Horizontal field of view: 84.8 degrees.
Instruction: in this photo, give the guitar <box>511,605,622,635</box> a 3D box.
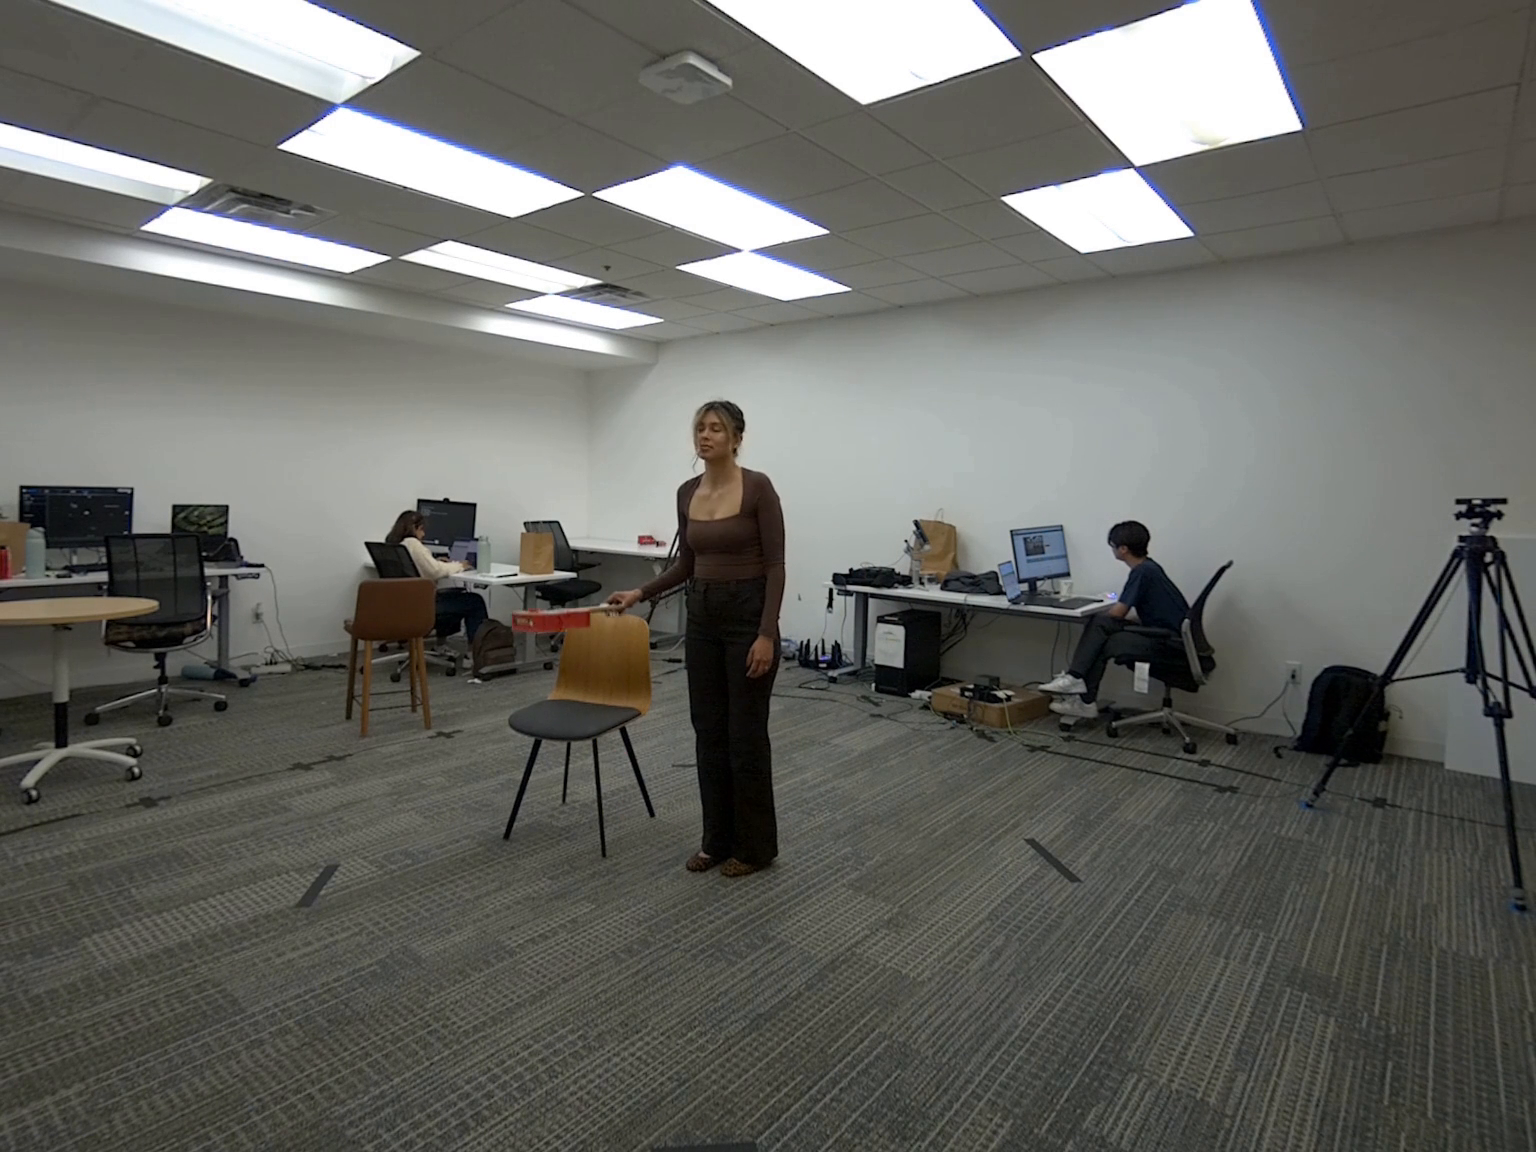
[{"bbox_3d":[-0.652,0.142,2.952,0.483,0.070,0.199,-4,4,-42],"label":"guitar"}]
